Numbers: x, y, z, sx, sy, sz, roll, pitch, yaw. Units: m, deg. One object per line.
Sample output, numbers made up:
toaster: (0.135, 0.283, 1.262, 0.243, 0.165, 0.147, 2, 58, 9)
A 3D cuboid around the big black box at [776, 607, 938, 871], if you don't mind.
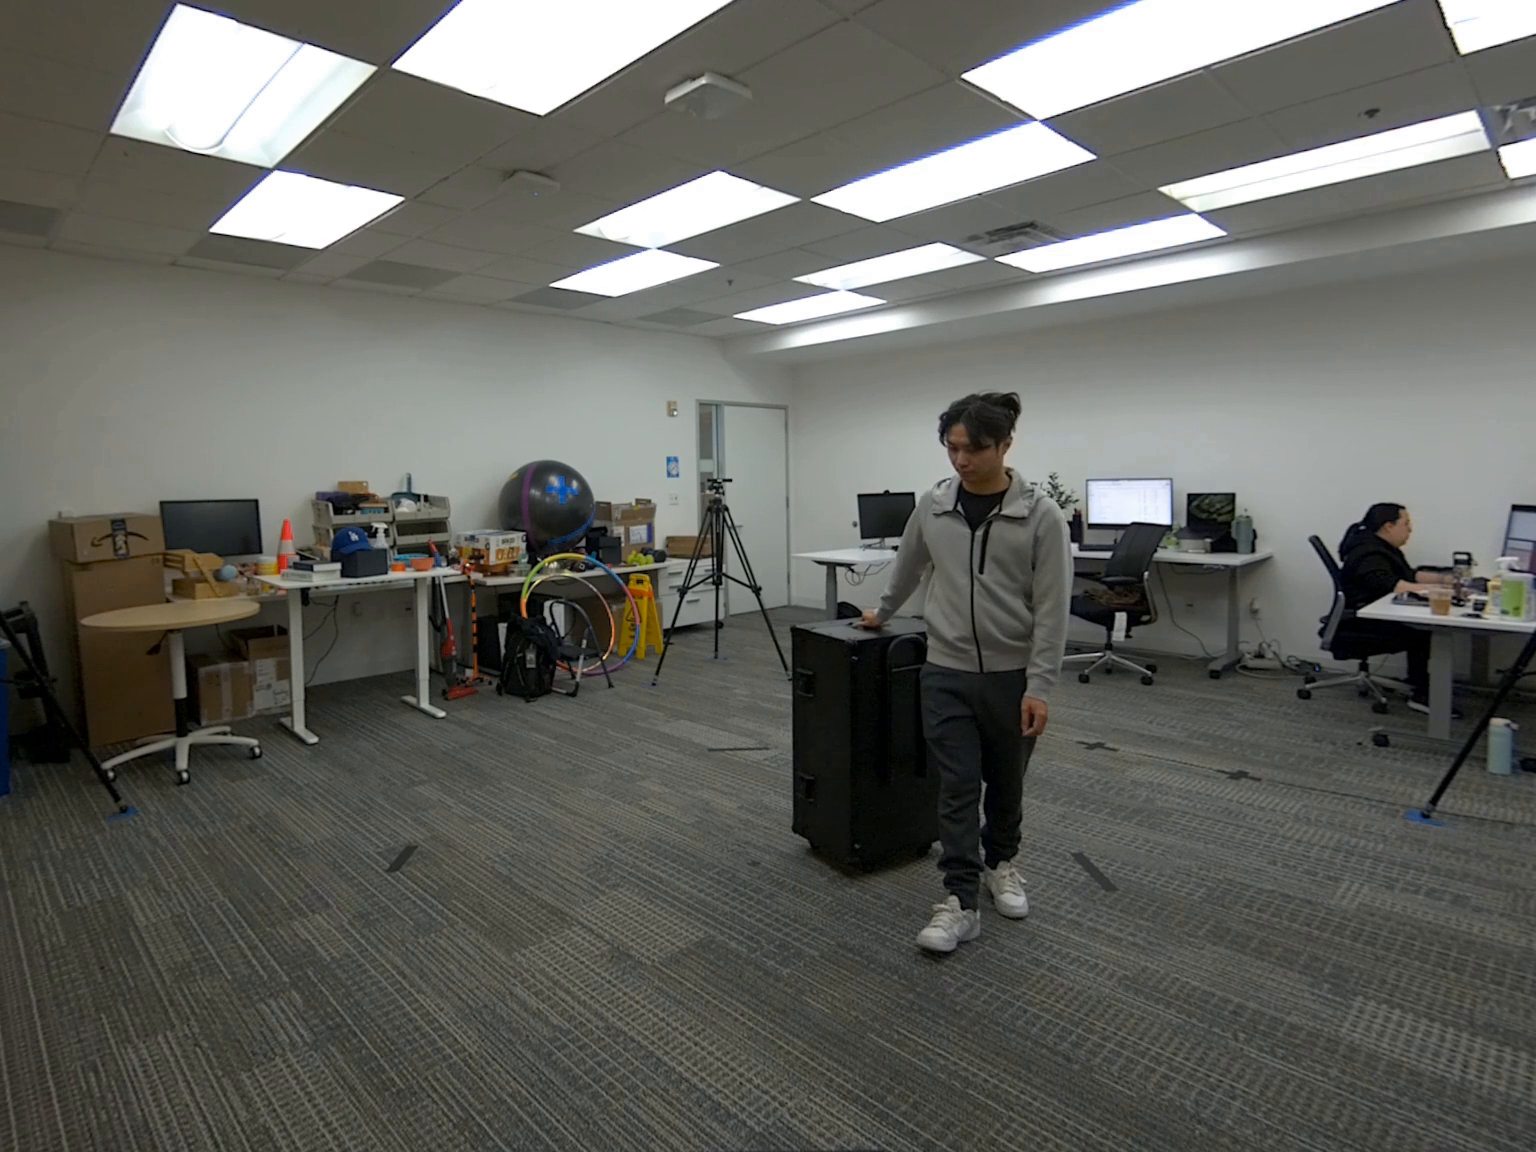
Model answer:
big black box: (0.394, 0.609, 3.151, 0.508, 0.857, 0.408, -3, 6, -32)
